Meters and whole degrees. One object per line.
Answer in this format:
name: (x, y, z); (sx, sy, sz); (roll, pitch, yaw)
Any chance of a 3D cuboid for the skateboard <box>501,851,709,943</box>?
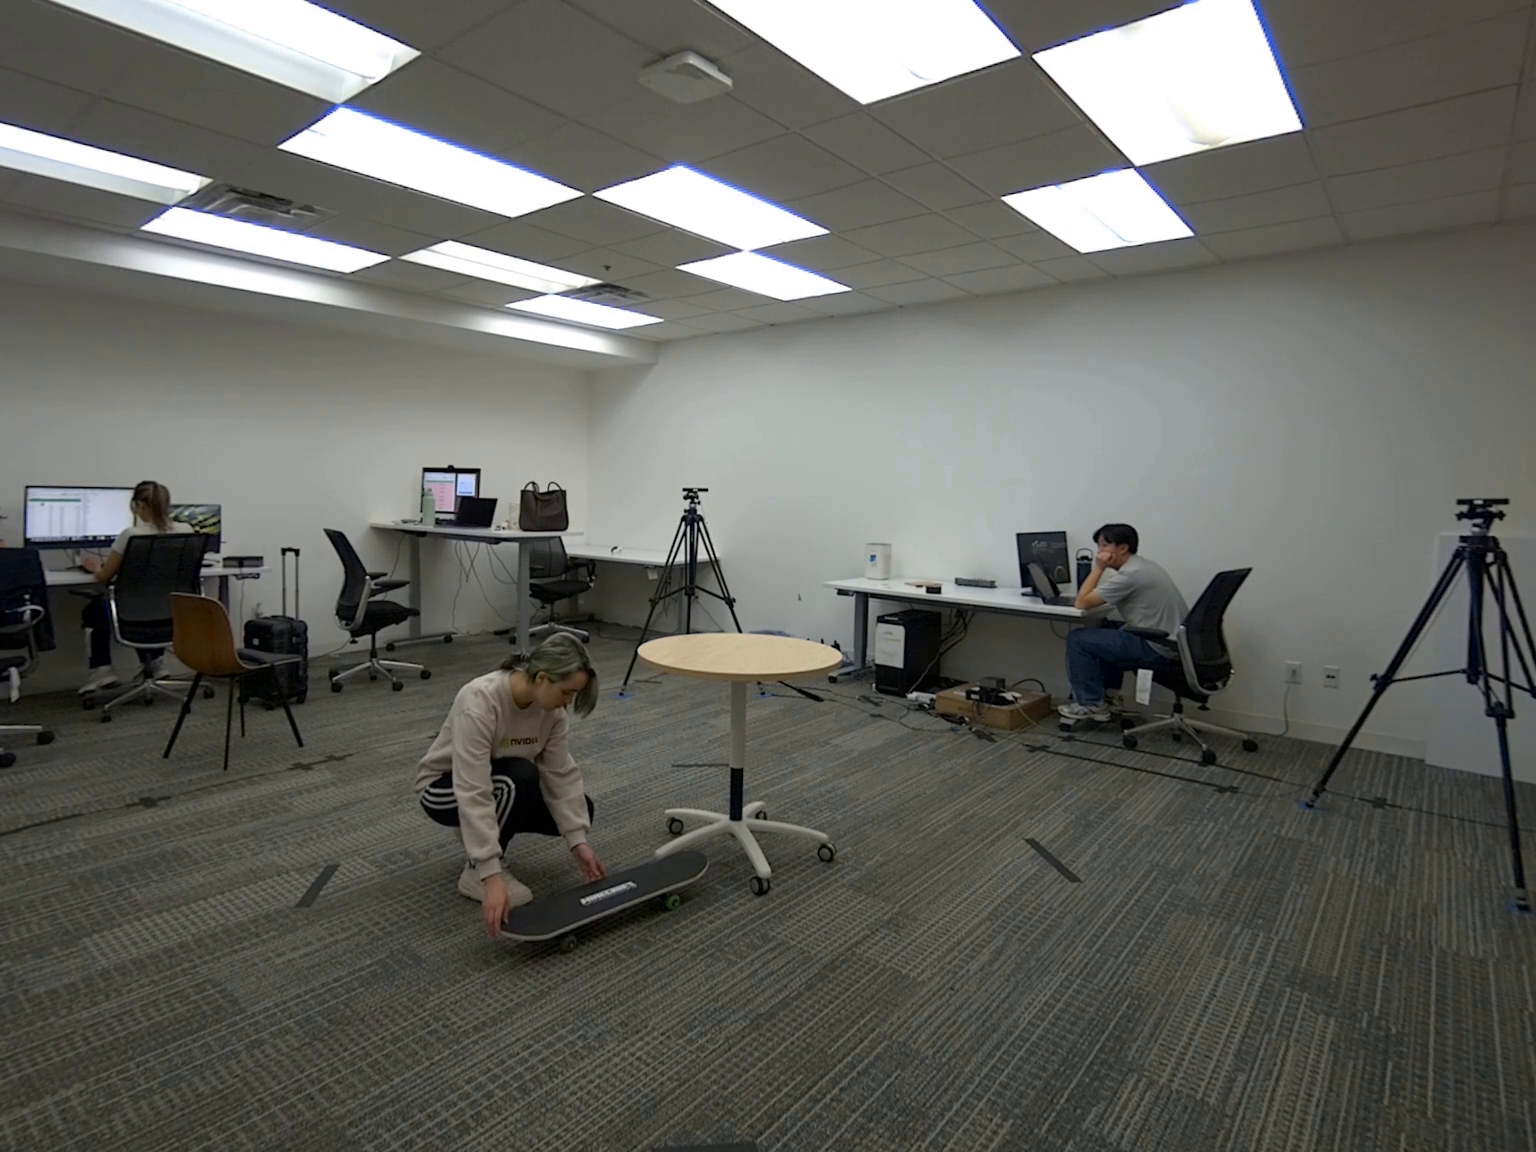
skateboard: (-0.518, 1.043, 2.748); (0.762, 0.110, 0.200); (-6, 9, -43)
